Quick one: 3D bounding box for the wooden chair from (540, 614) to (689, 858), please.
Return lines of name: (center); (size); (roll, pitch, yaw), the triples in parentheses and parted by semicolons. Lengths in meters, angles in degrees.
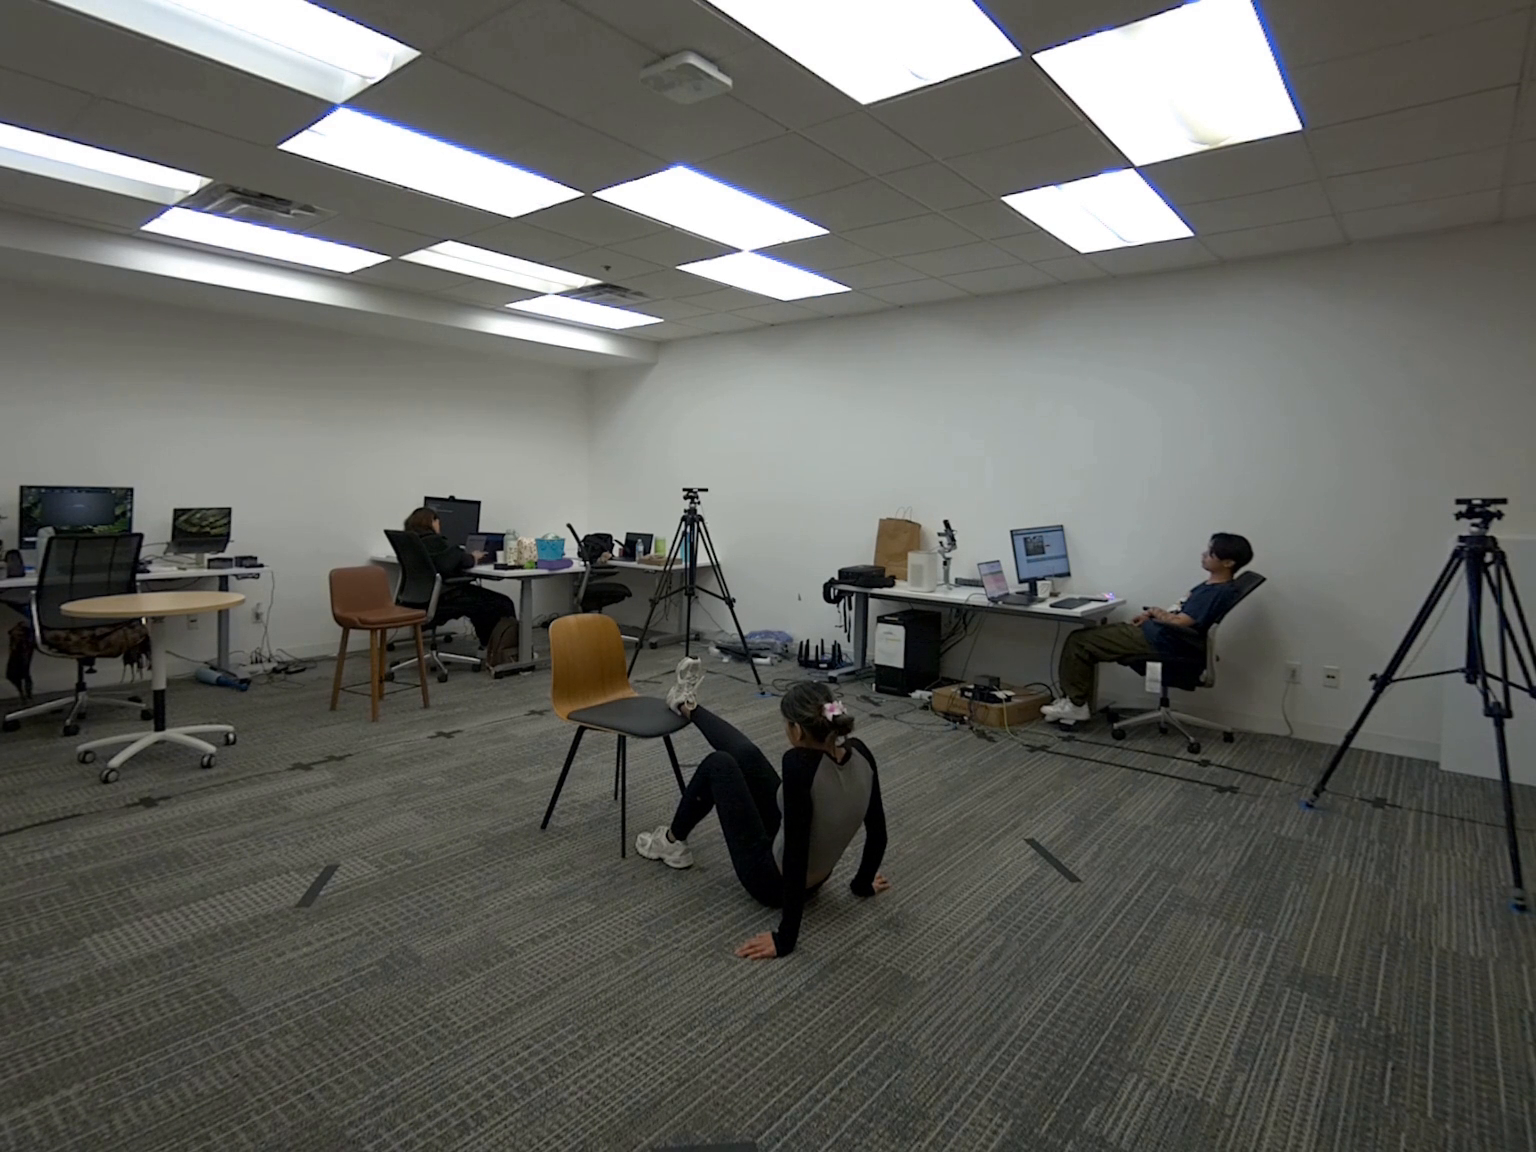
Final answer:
wooden chair: (-0.605, 0.599, 3.466); (0.538, 0.877, 0.464); (-2, 1, 34)
